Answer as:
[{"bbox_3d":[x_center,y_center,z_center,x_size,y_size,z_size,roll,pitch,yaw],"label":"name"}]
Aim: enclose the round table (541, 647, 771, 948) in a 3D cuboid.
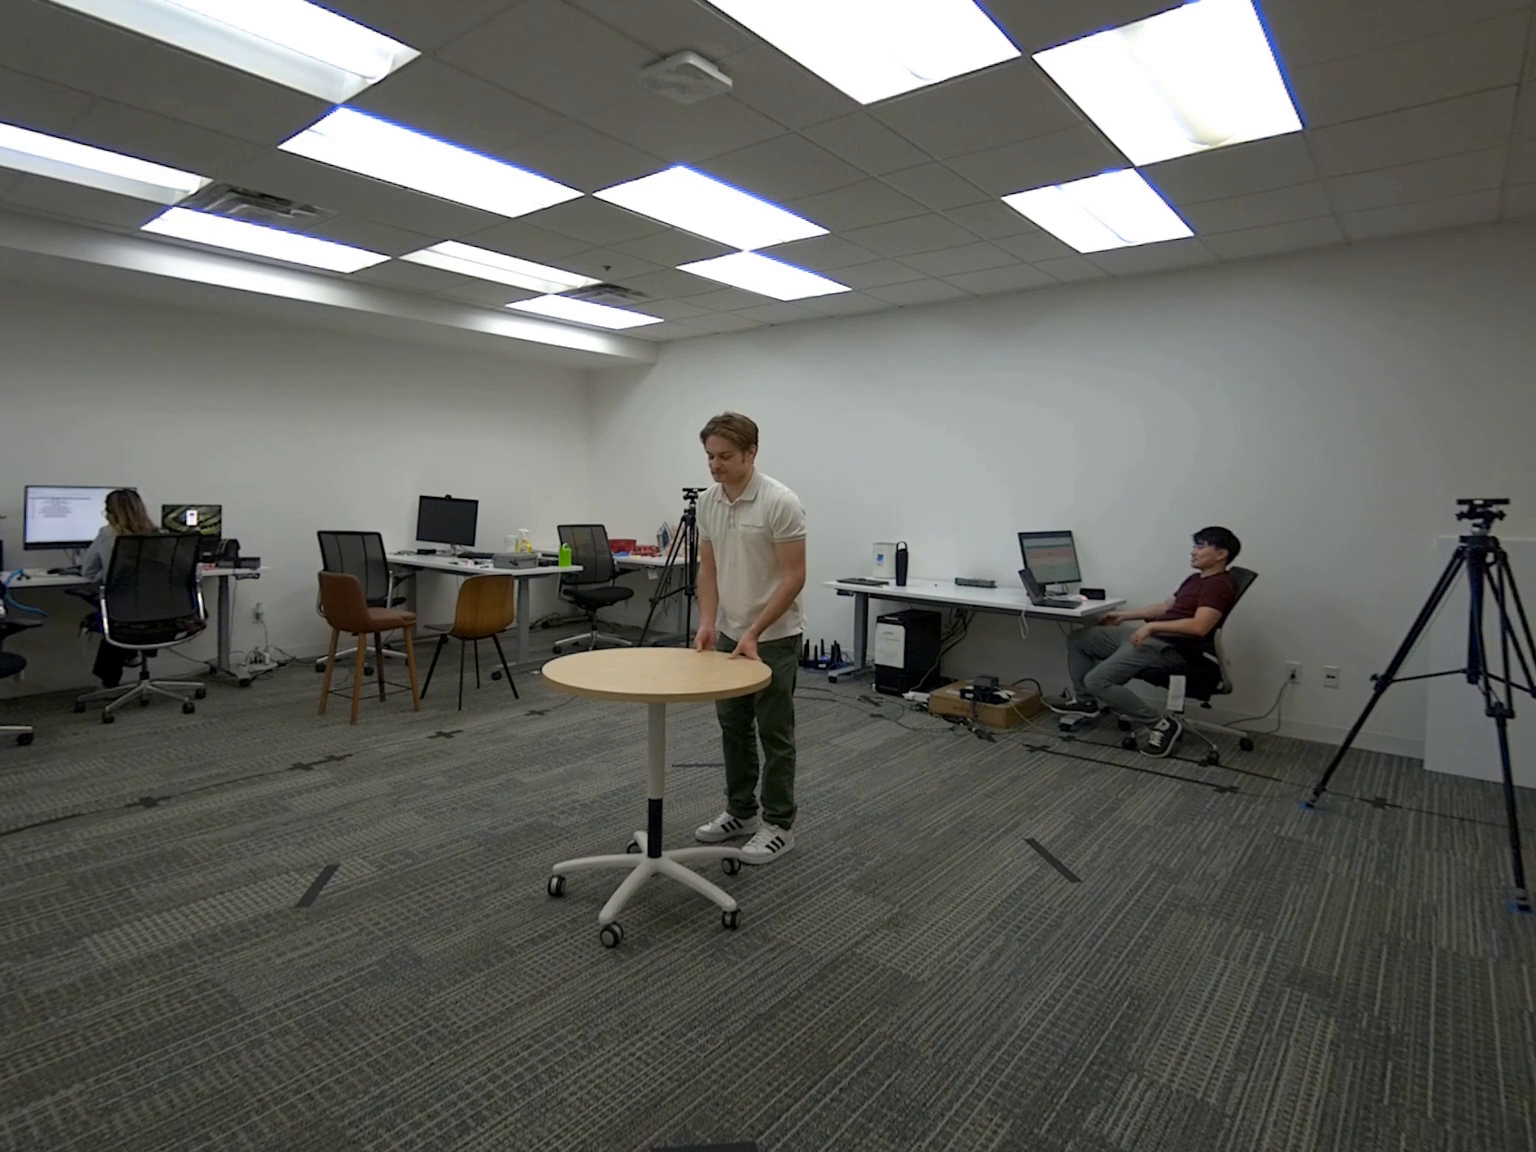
[{"bbox_3d":[-0.391,0.700,2.871,0.763,0.792,0.767,1,4,-2],"label":"round table"}]
